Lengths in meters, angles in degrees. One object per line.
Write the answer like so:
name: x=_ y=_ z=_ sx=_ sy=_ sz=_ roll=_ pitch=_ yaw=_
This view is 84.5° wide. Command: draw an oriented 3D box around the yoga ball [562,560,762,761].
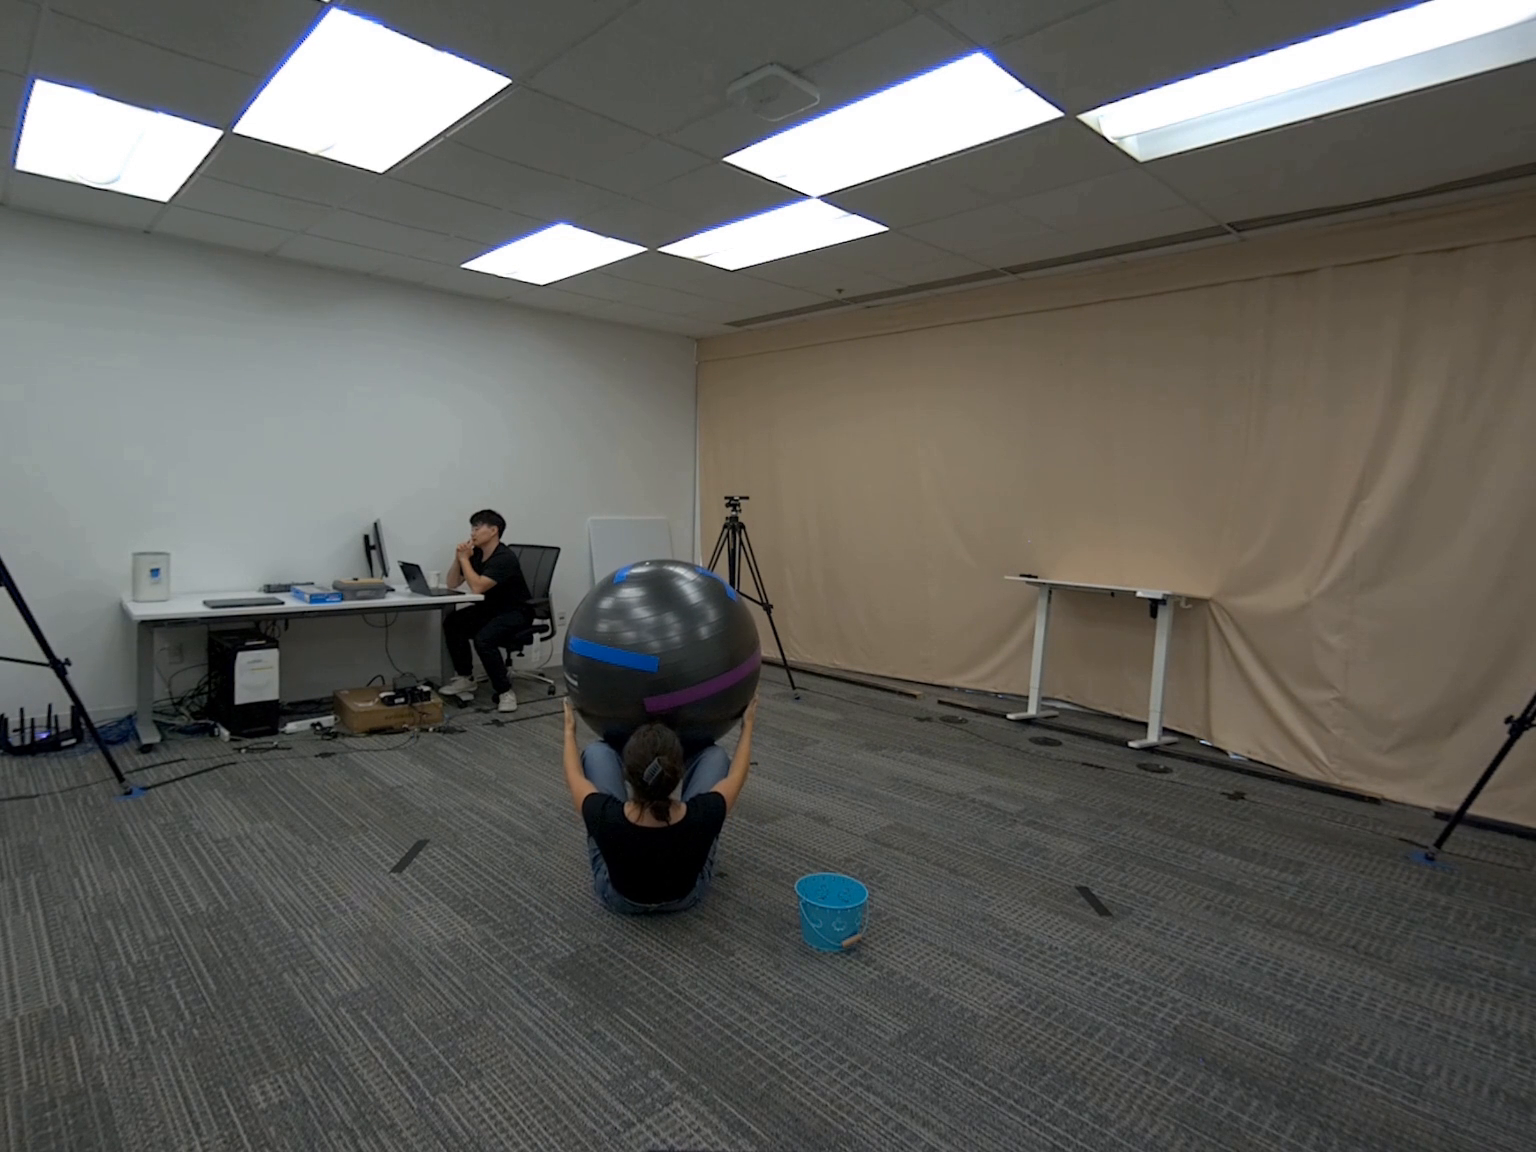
yoga ball: x=-0.426 y=0.320 z=3.239 sx=0.757 sy=0.756 sz=0.761 roll=1 pitch=4 yaw=-1
